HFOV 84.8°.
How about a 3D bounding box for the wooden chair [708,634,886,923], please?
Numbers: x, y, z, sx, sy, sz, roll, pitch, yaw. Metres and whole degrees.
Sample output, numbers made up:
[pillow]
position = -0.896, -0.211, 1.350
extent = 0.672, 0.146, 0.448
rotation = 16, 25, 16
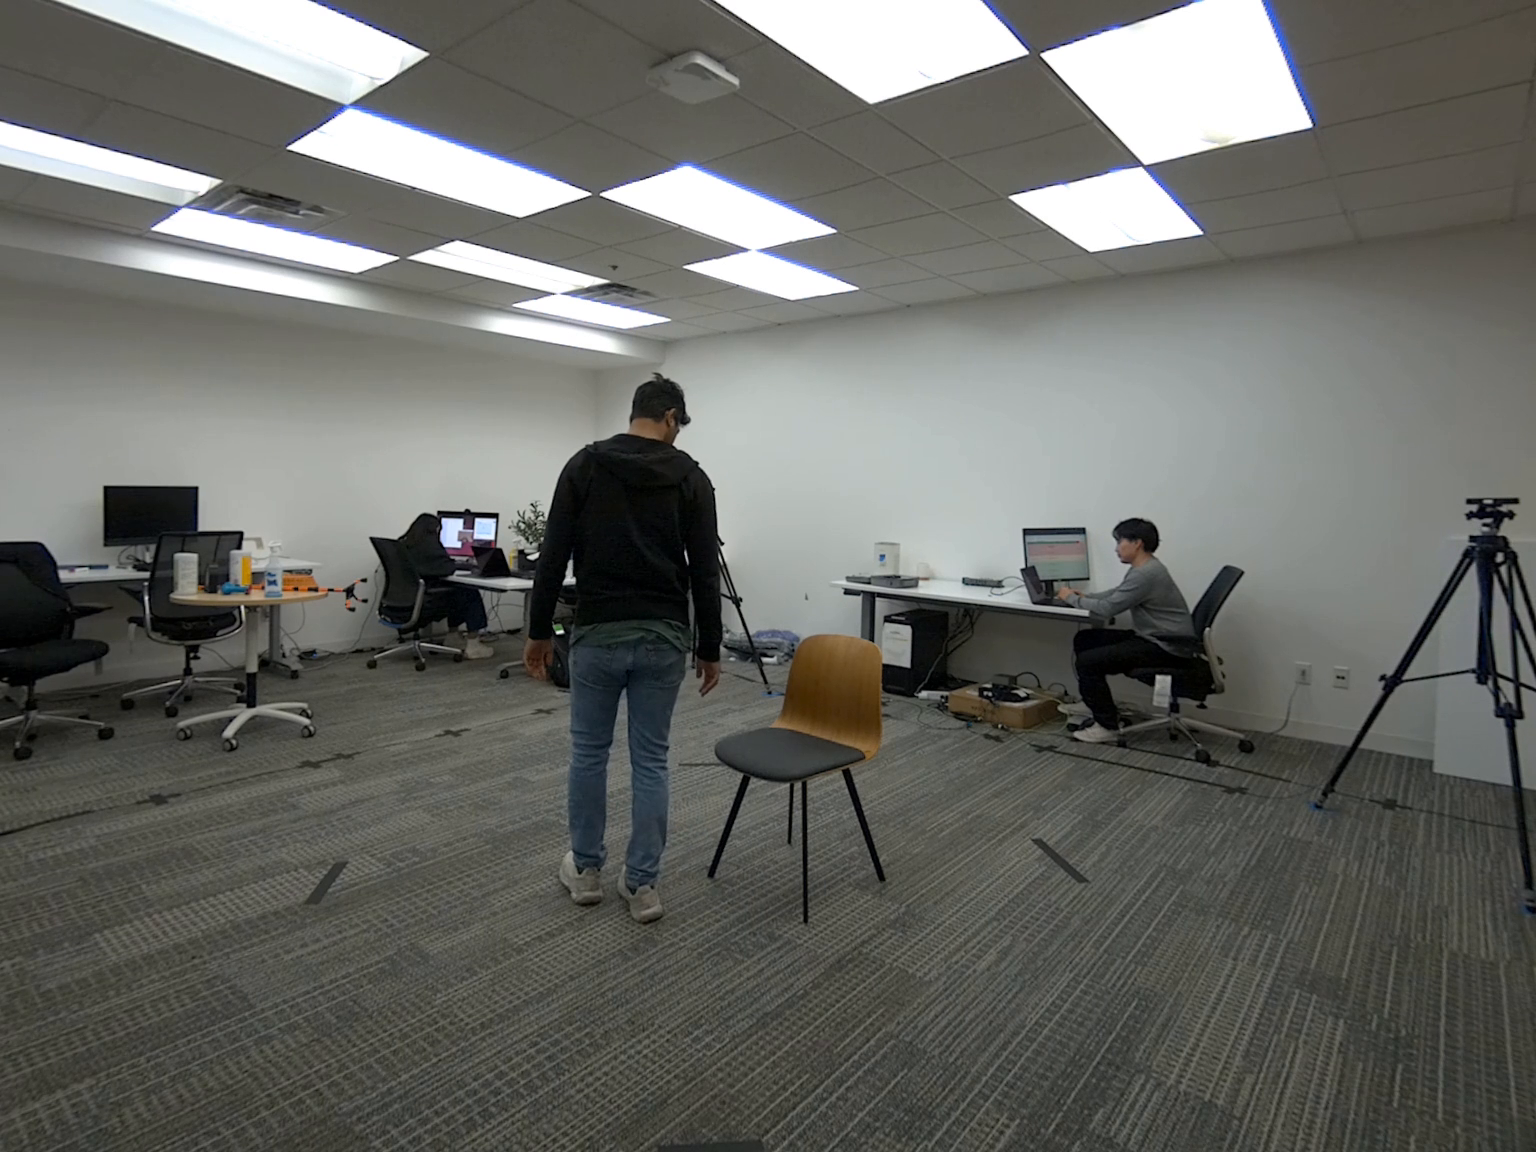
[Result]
[wooden chair]
position = 0.098, 0.656, 3.012
extent = 0.495, 0.877, 0.505
rotation = 5, 1, 43
